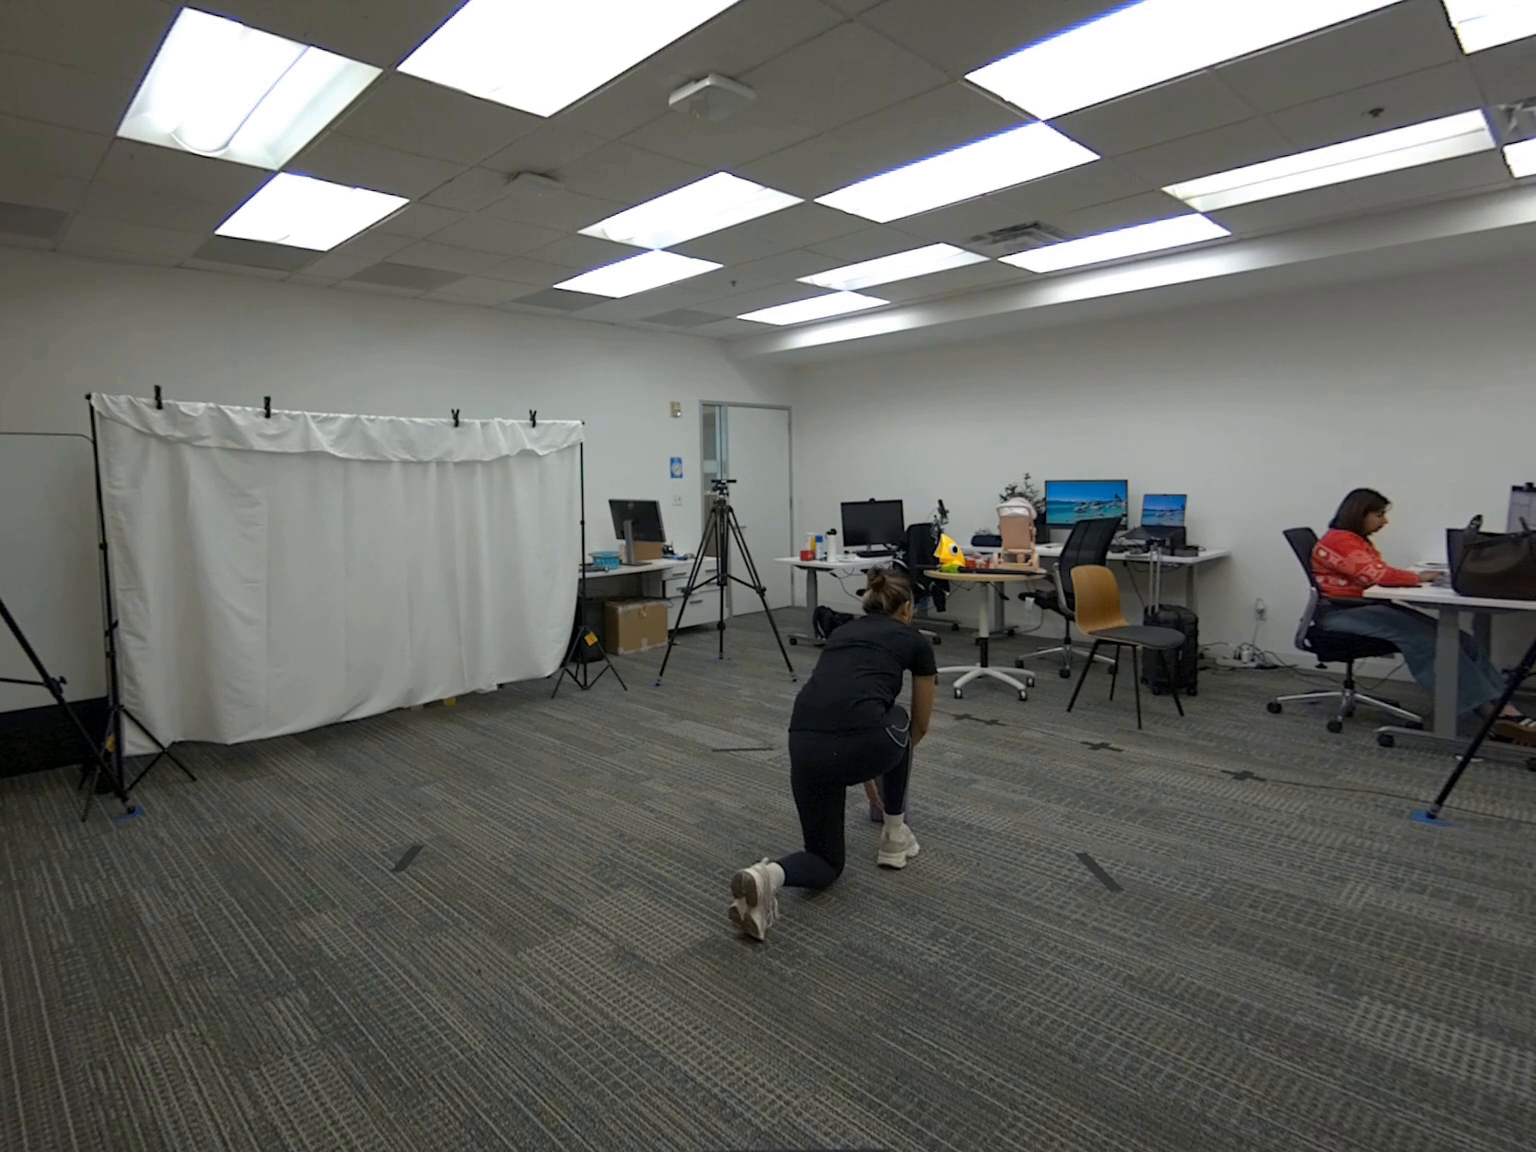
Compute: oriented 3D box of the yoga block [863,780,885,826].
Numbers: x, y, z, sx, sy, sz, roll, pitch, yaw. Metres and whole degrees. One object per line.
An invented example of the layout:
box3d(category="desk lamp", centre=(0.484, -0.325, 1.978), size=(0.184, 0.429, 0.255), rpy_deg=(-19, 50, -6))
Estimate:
box3d(category="yoga block", centre=(0.501, 0.882, 3.477), size=(0.152, 0.229, 0.075), rpy_deg=(1, 0, 23))
